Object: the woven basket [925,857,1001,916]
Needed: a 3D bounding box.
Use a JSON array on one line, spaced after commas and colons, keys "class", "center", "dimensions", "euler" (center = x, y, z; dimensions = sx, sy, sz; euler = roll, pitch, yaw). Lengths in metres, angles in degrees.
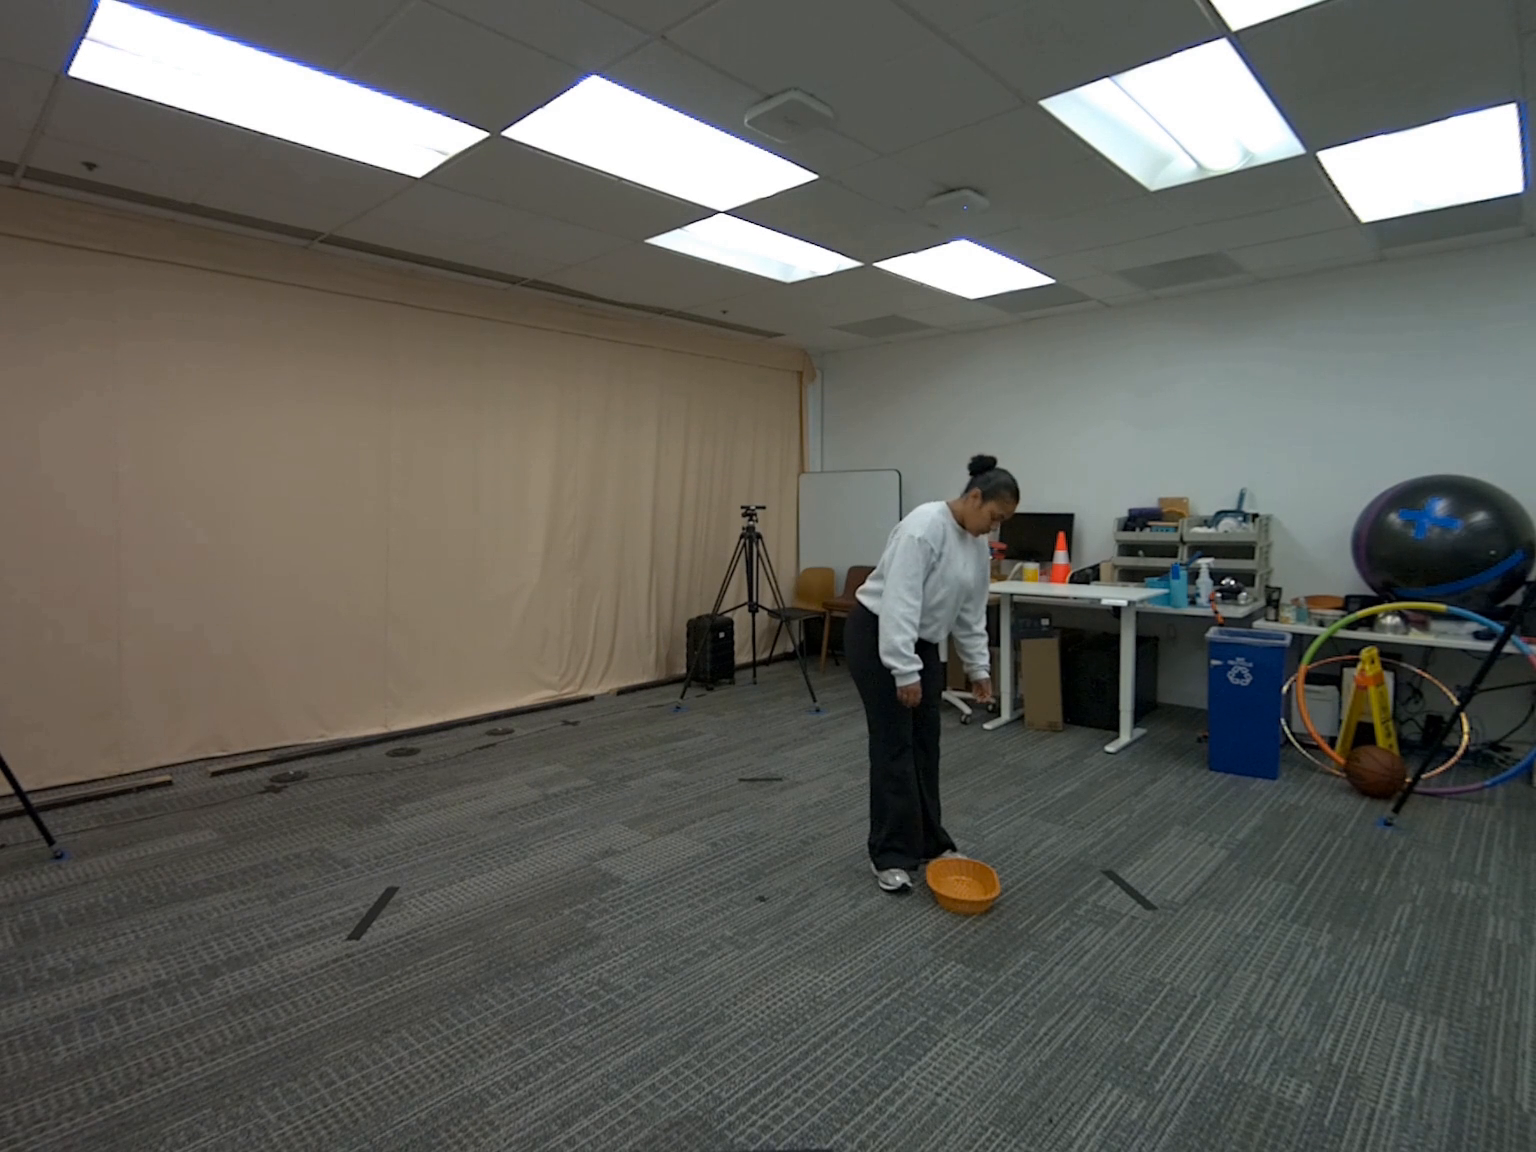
[{"class": "woven basket", "center": [0.688, 1.096, 2.998], "dimensions": [0.256, 0.073, 0.347], "euler": [1, 5, 11]}]
